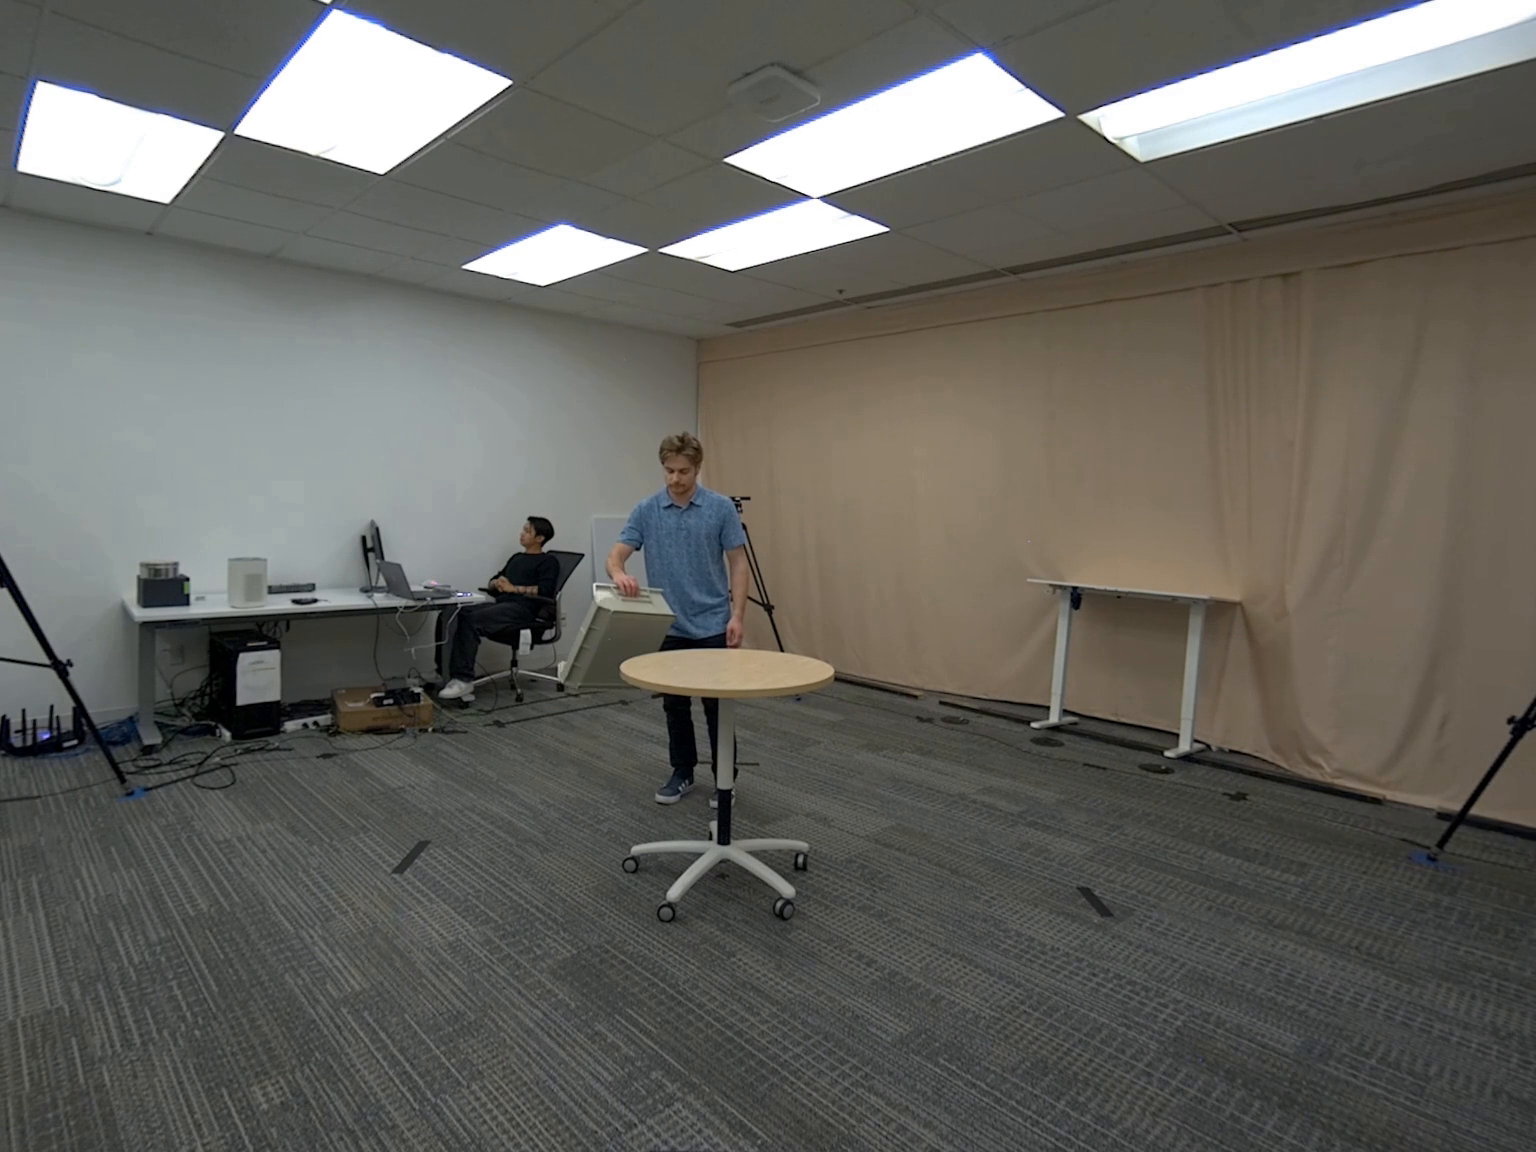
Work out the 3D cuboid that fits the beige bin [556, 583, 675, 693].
[{"bbox_3d":[-0.646,0.264,3.516,0.367,0.419,0.195,8,29,-39],"label":"beige bin"}]
